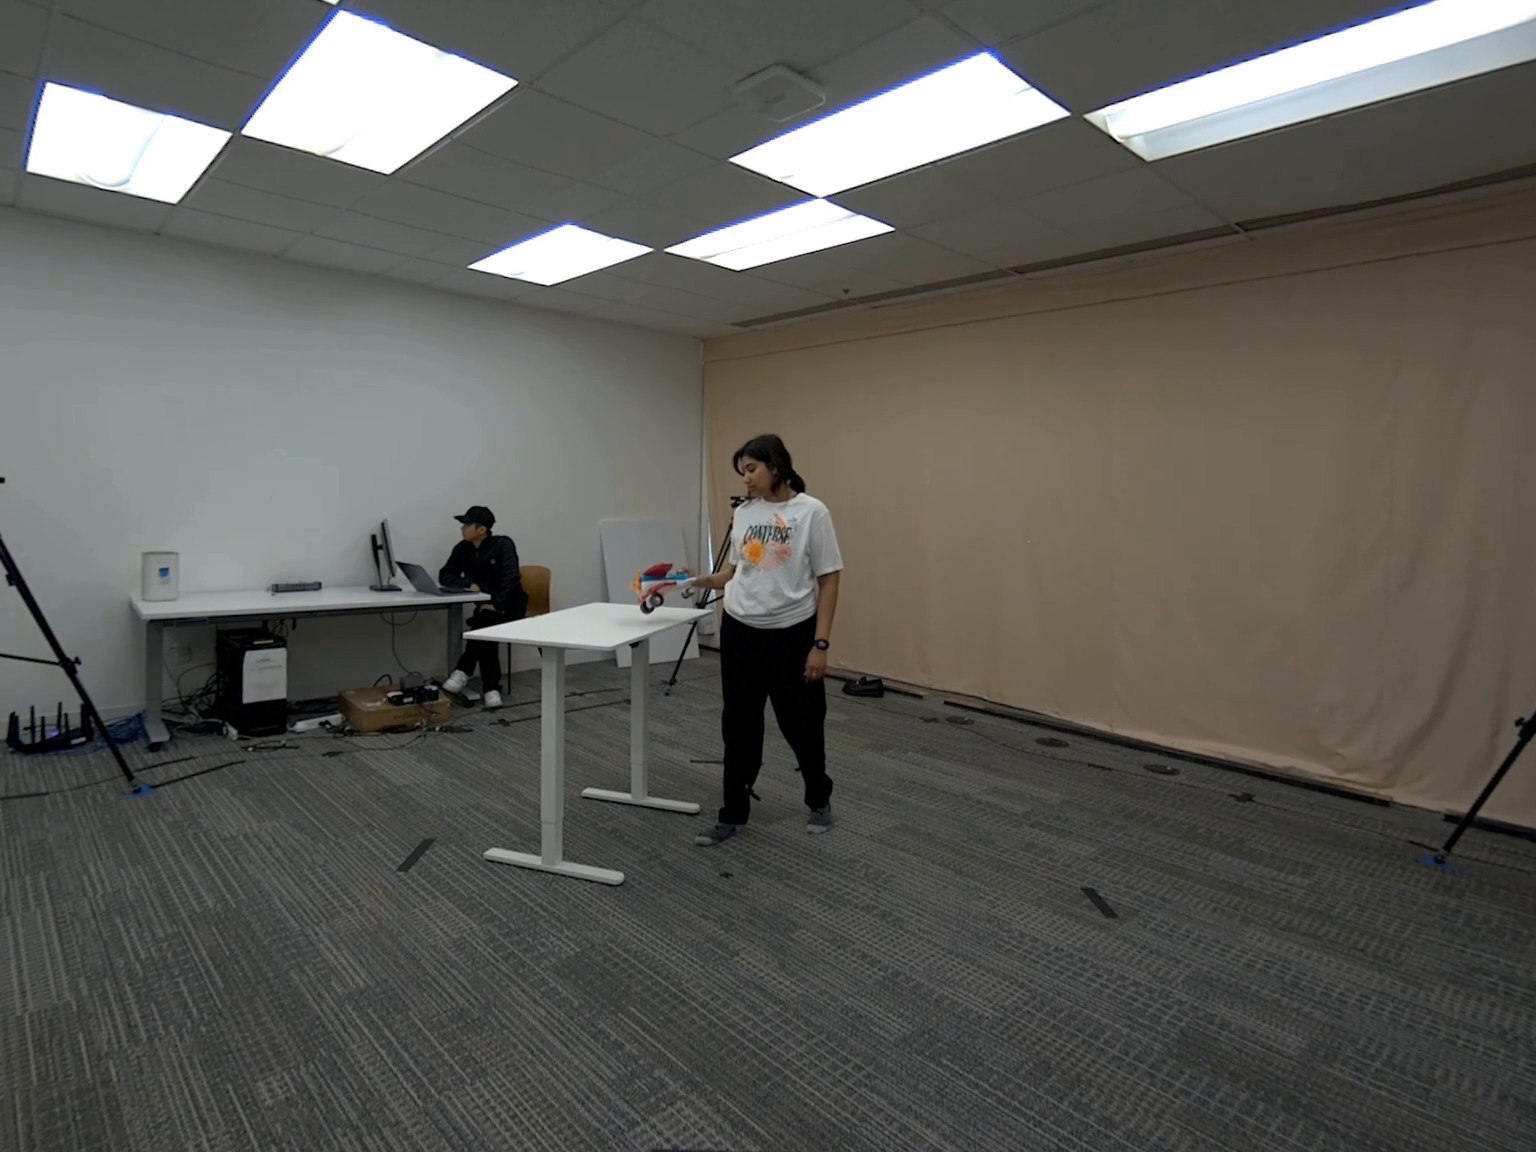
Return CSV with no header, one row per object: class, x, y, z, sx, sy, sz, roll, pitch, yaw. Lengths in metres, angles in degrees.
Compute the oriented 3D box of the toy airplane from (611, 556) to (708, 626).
toy airplane,-0.433,0.055,3.391,0.253,0.158,0.255,-29,-7,22
